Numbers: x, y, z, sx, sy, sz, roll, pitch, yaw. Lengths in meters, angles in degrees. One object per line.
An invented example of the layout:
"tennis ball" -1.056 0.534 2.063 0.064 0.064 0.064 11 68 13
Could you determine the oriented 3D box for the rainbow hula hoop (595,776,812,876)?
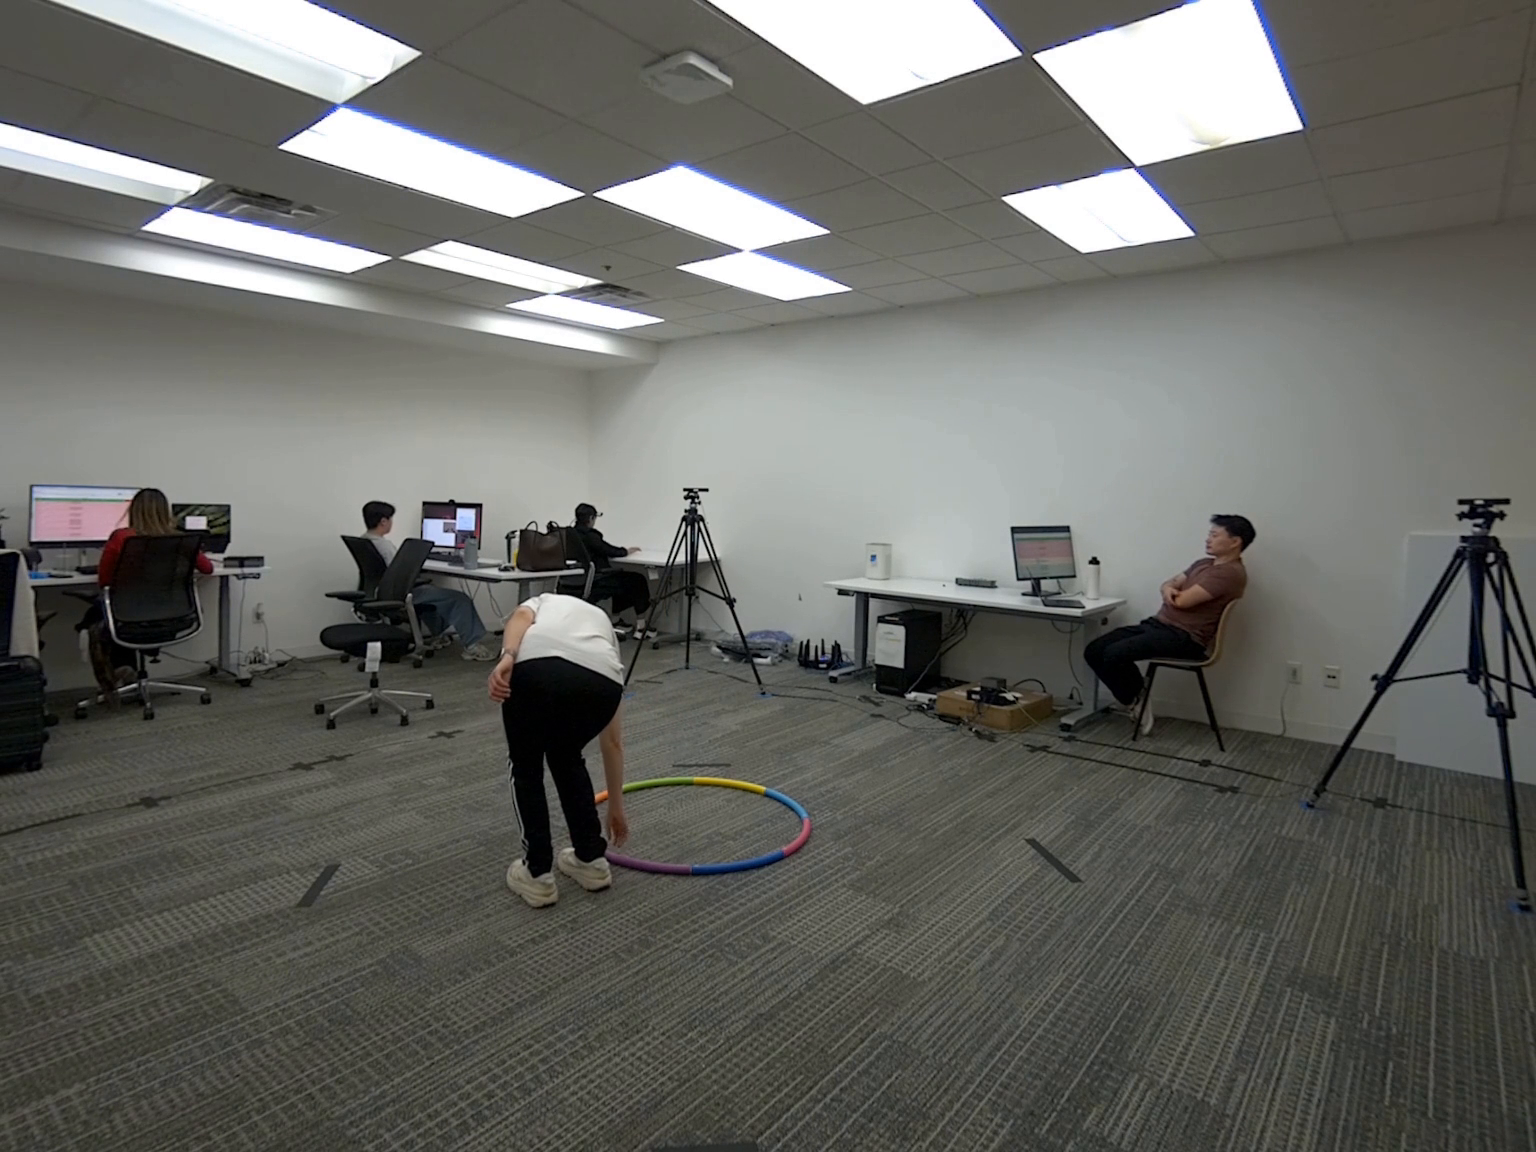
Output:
"rainbow hula hoop" -0.323 0.997 3.528 0.978 0.035 0.984 1 6 -2
